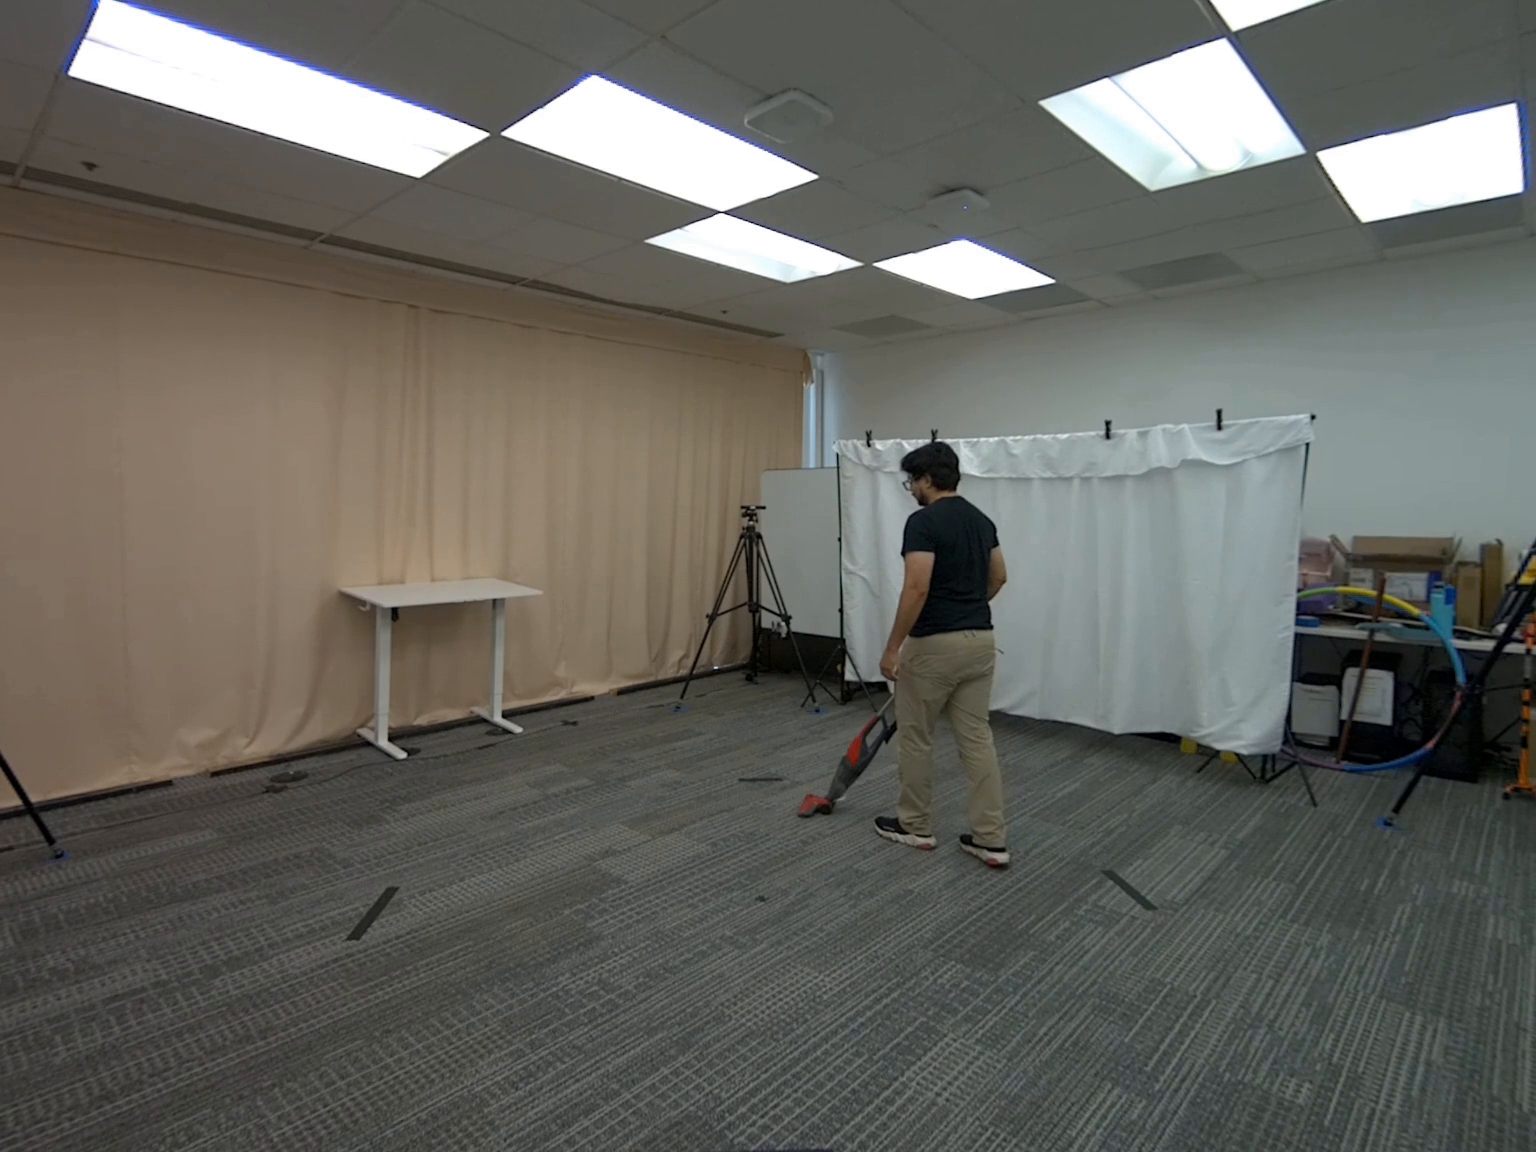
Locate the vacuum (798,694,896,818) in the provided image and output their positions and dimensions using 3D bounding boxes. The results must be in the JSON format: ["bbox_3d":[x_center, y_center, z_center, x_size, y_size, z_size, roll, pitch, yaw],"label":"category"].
[{"bbox_3d":[0.522,0.651,3.769,0.146,1.051,0.248,38,11,10],"label":"vacuum"}]
